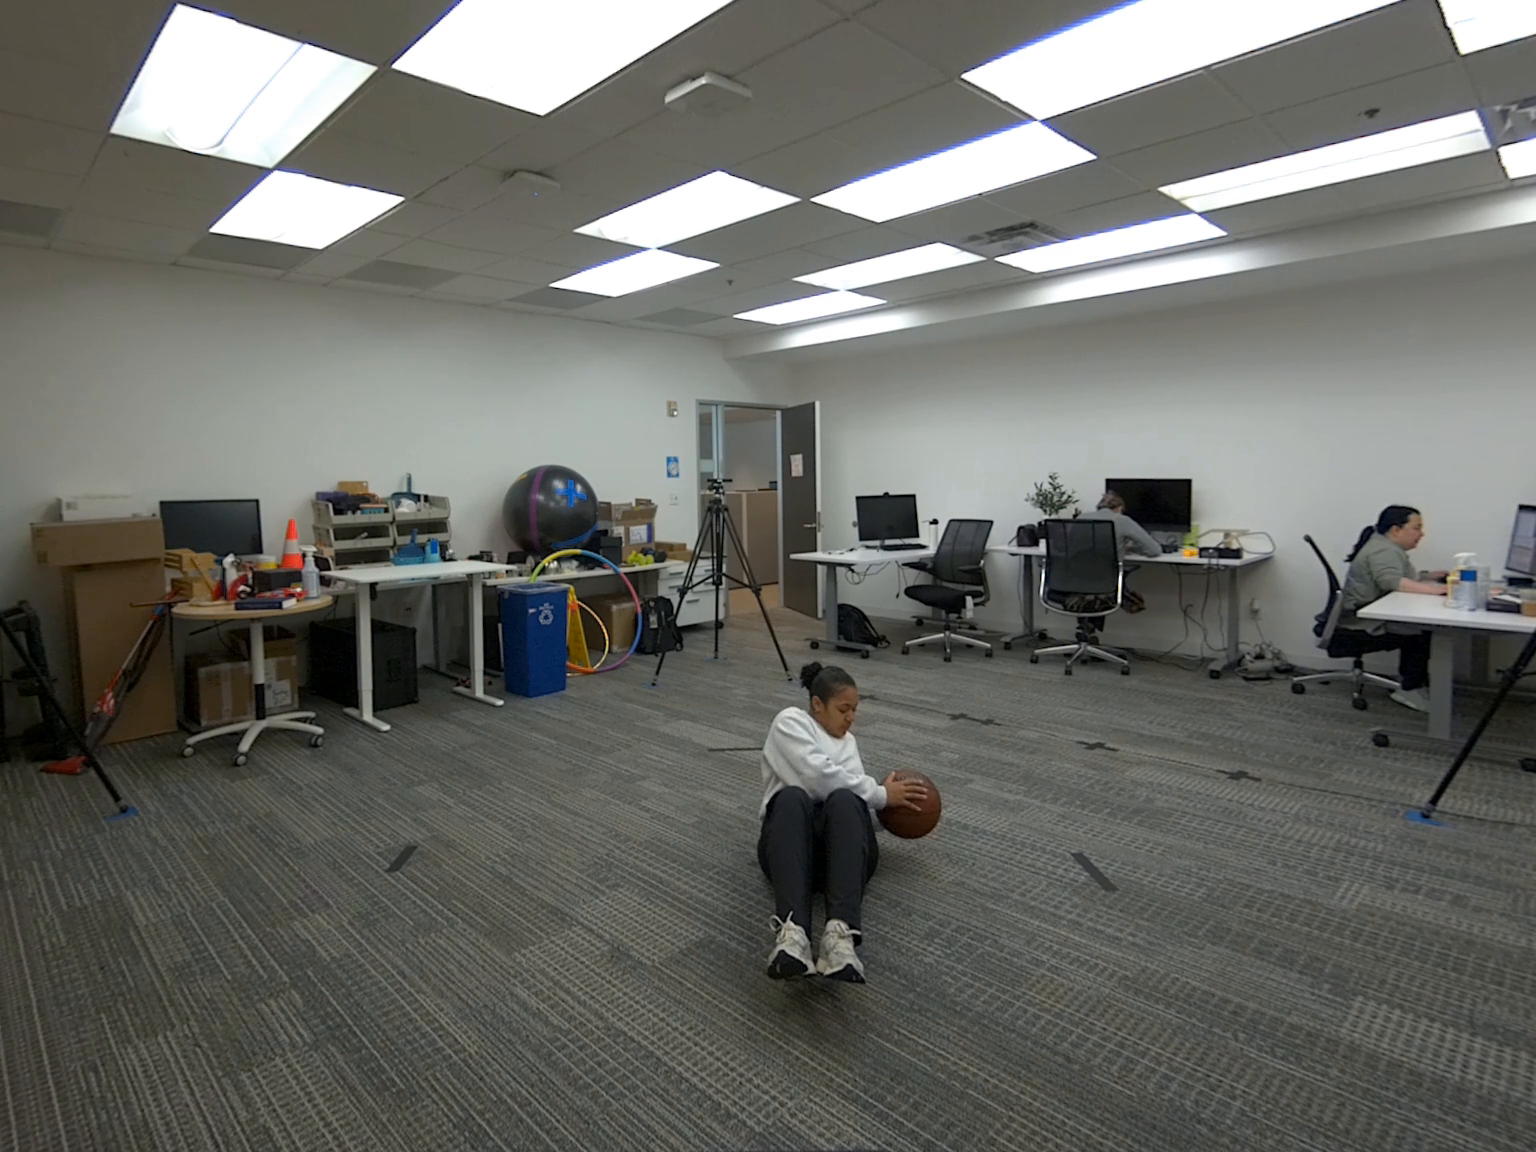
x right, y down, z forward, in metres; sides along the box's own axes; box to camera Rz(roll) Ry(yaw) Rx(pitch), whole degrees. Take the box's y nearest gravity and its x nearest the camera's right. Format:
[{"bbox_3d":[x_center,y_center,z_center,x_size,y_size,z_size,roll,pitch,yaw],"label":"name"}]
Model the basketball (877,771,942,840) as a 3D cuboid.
[{"bbox_3d":[0.488,0.795,3.057,0.236,0.235,0.237,-1,5,-2],"label":"basketball"}]
